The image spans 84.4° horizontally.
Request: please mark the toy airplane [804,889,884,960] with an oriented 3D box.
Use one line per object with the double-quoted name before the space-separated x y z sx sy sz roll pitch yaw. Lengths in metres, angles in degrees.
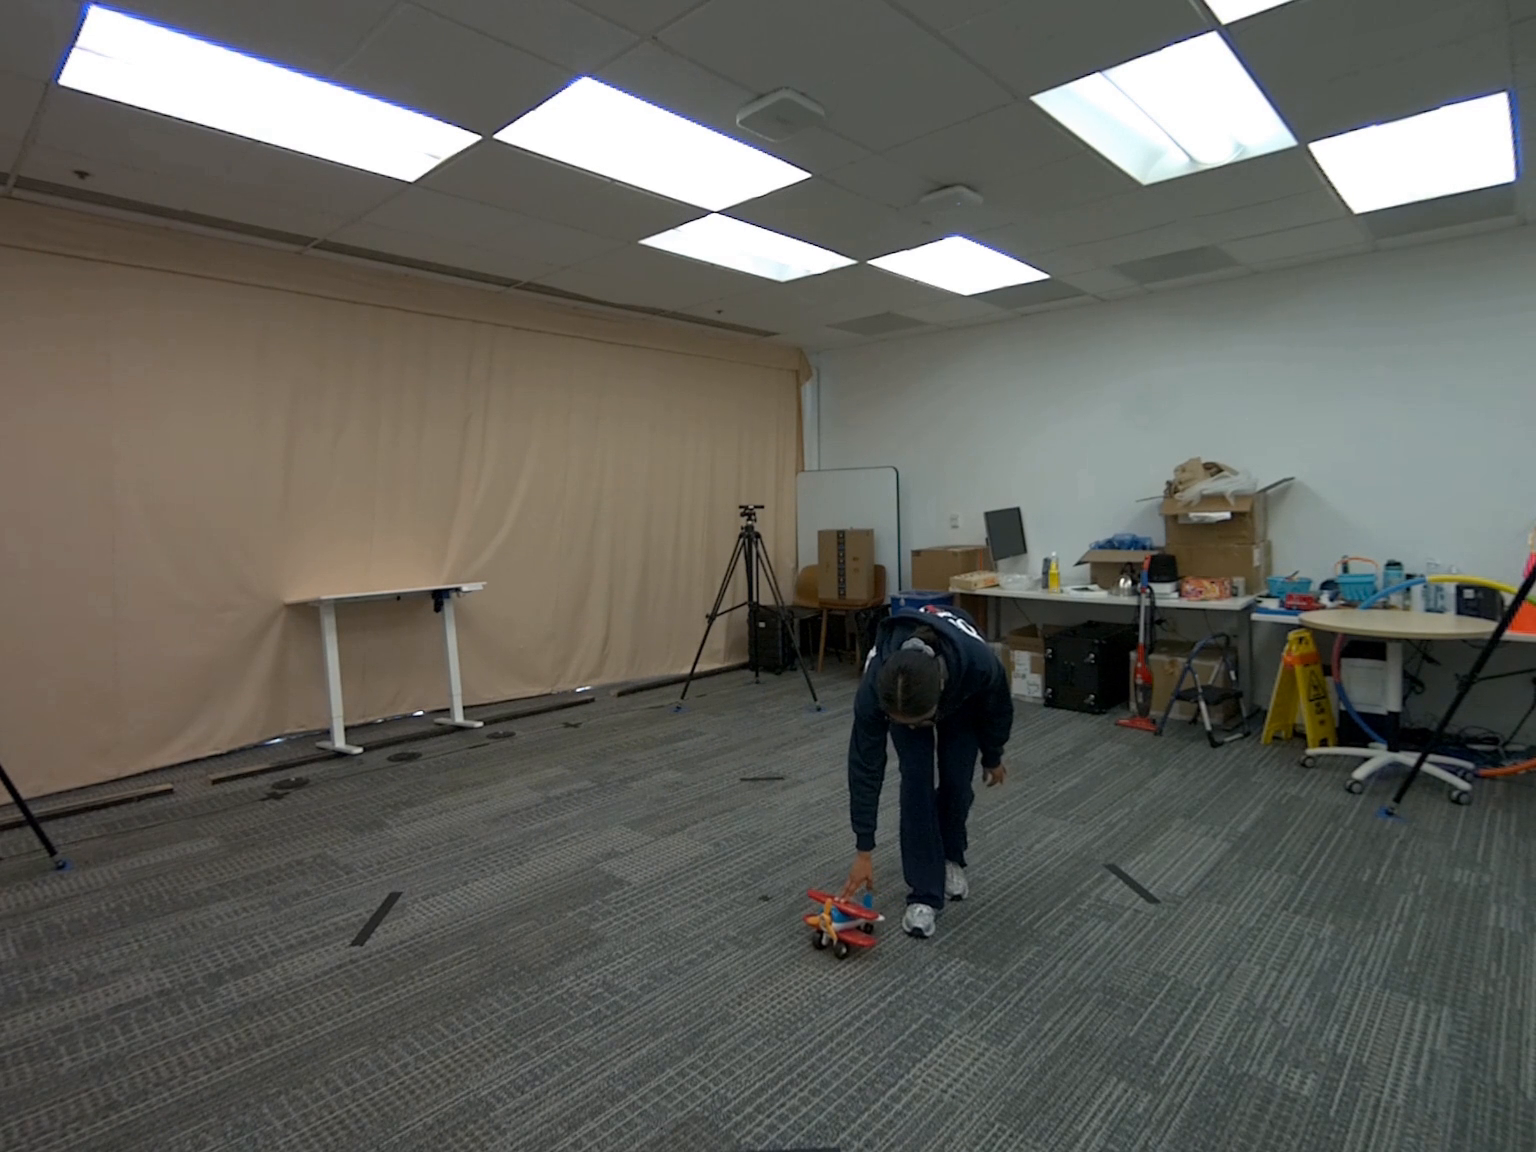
"toy airplane" 0.238 1.094 2.674 0.255 0.156 0.256 -1 6 15
